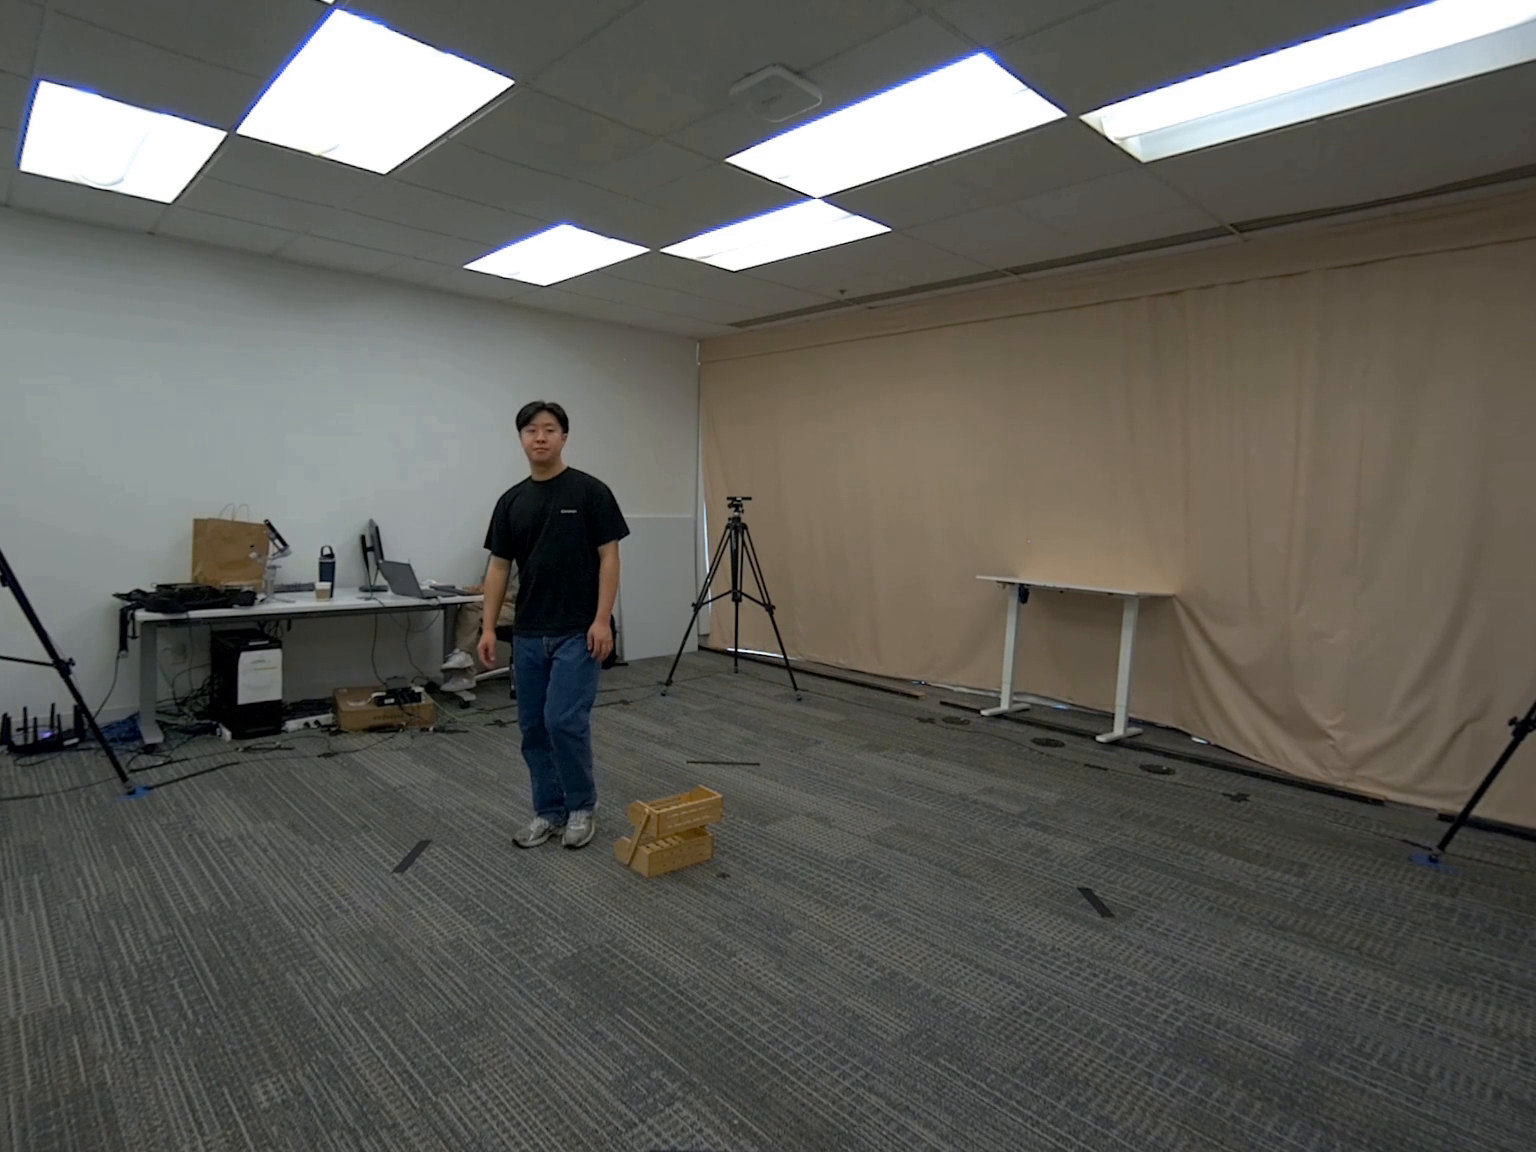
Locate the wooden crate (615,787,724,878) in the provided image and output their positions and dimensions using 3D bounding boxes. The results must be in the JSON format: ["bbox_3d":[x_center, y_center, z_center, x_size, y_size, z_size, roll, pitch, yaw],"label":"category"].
[{"bbox_3d":[-0.391,0.959,3.230,0.317,0.272,0.310,-2,6,-40],"label":"wooden crate"}]
